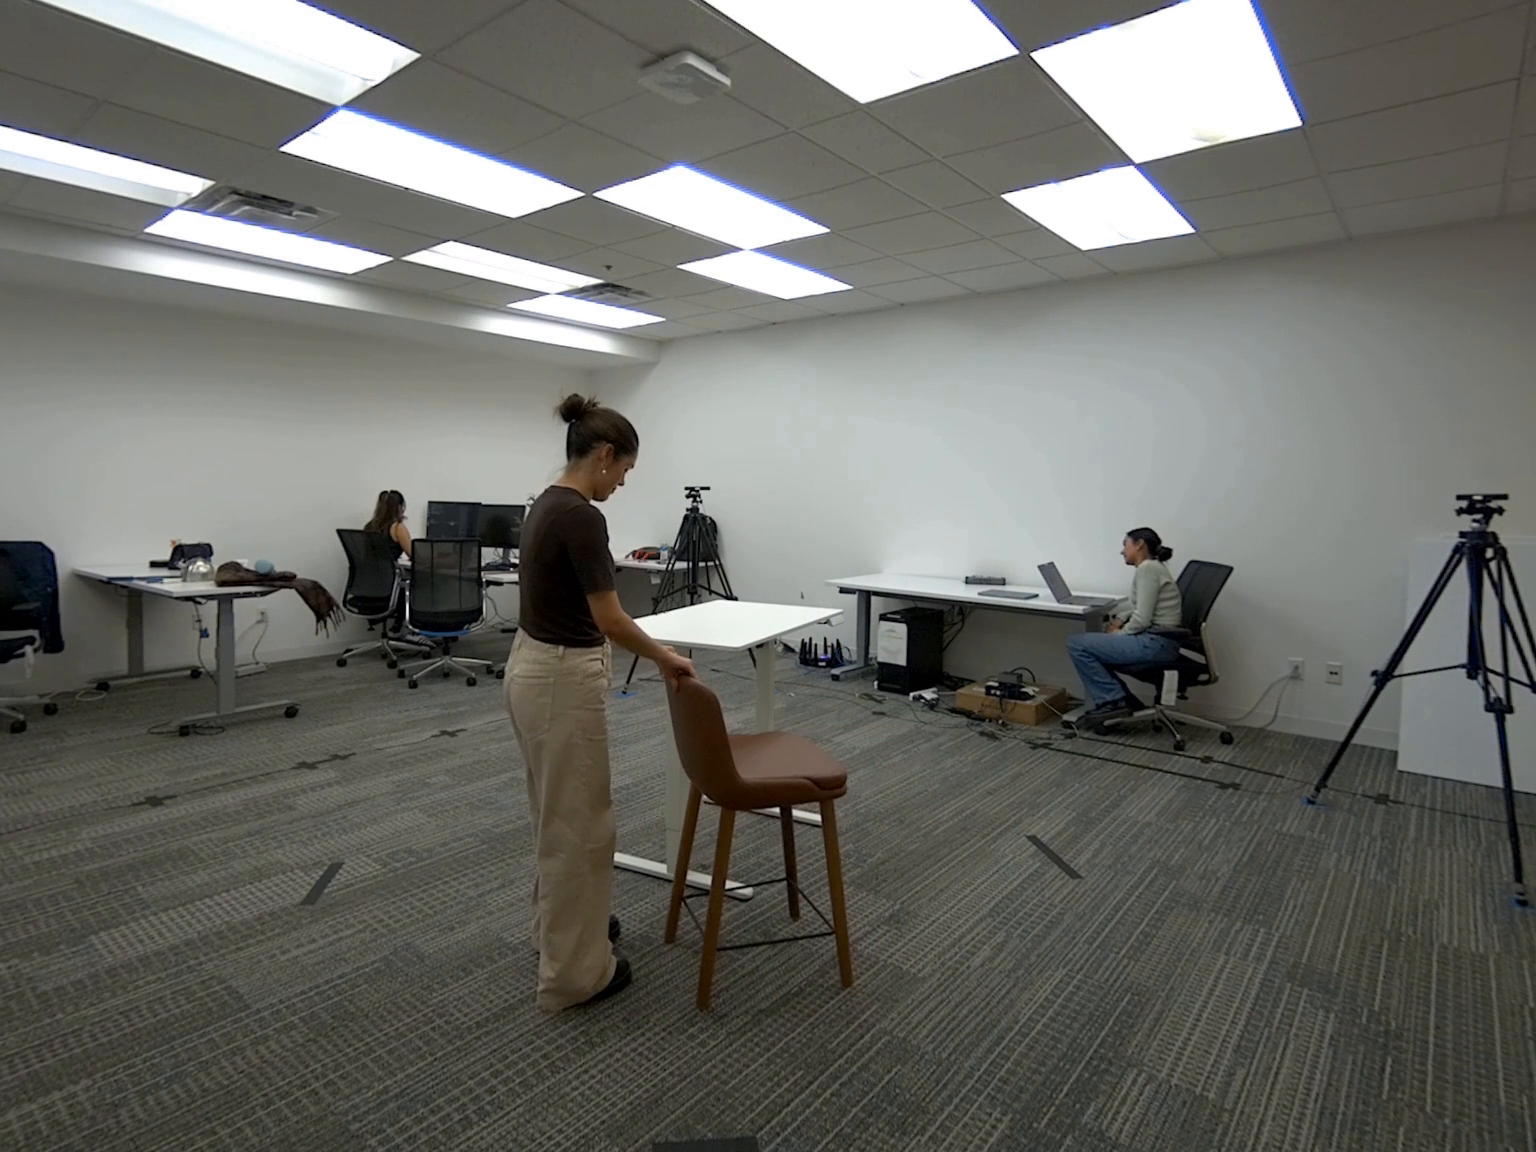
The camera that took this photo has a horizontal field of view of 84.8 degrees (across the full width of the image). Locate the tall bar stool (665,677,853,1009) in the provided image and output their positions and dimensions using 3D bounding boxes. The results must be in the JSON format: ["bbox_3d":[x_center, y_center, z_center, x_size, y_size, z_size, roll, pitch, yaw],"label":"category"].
[{"bbox_3d":[-0.050,0.691,2.474,0.459,0.887,0.466,-3,4,-19],"label":"tall bar stool"}]
